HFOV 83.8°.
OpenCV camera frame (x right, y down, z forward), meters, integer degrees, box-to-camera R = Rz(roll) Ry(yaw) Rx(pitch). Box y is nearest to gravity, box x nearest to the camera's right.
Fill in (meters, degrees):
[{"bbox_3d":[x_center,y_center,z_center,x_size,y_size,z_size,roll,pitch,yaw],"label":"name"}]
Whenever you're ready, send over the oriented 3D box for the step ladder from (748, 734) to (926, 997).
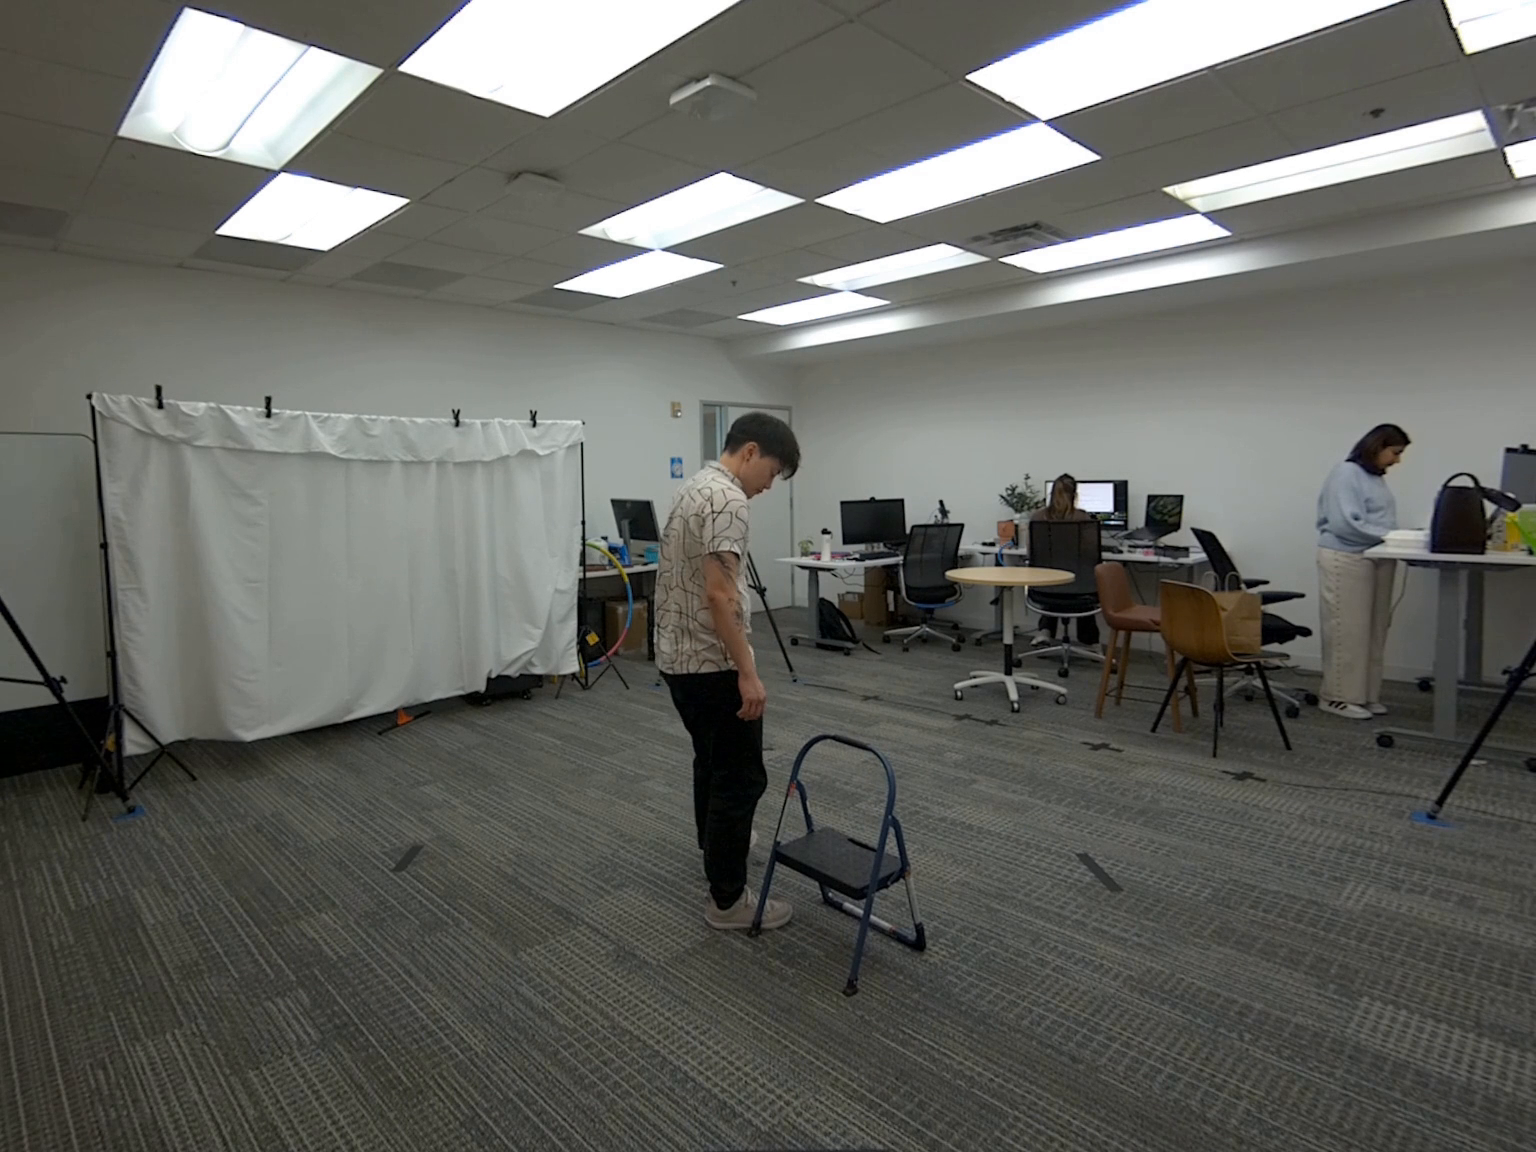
[{"bbox_3d":[0.208,0.803,2.552,0.340,0.603,0.444,-5,7,-40],"label":"step ladder"}]
